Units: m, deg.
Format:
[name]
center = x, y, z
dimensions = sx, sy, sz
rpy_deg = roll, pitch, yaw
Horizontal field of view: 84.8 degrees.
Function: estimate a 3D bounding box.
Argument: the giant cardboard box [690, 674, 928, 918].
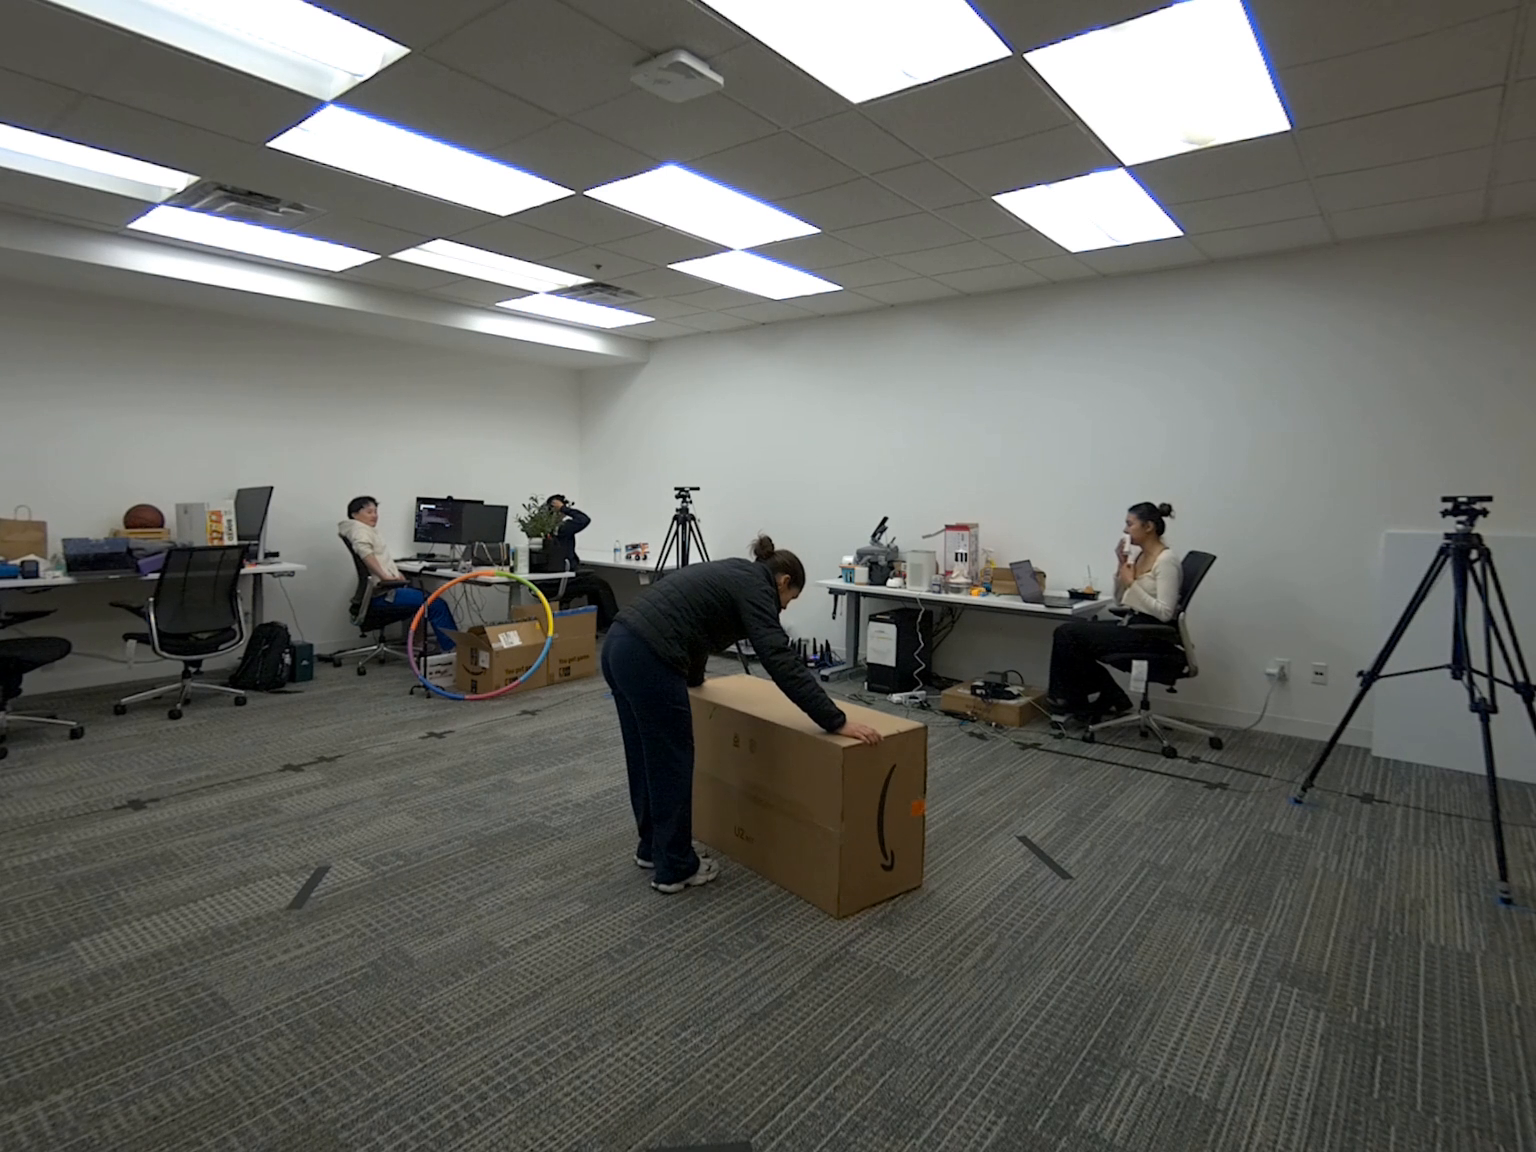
[giant cardboard box]
center = 0.080, 0.768, 3.273
dimensions = 0.434, 0.581, 1.062
rpy_deg = -4, 7, -37
